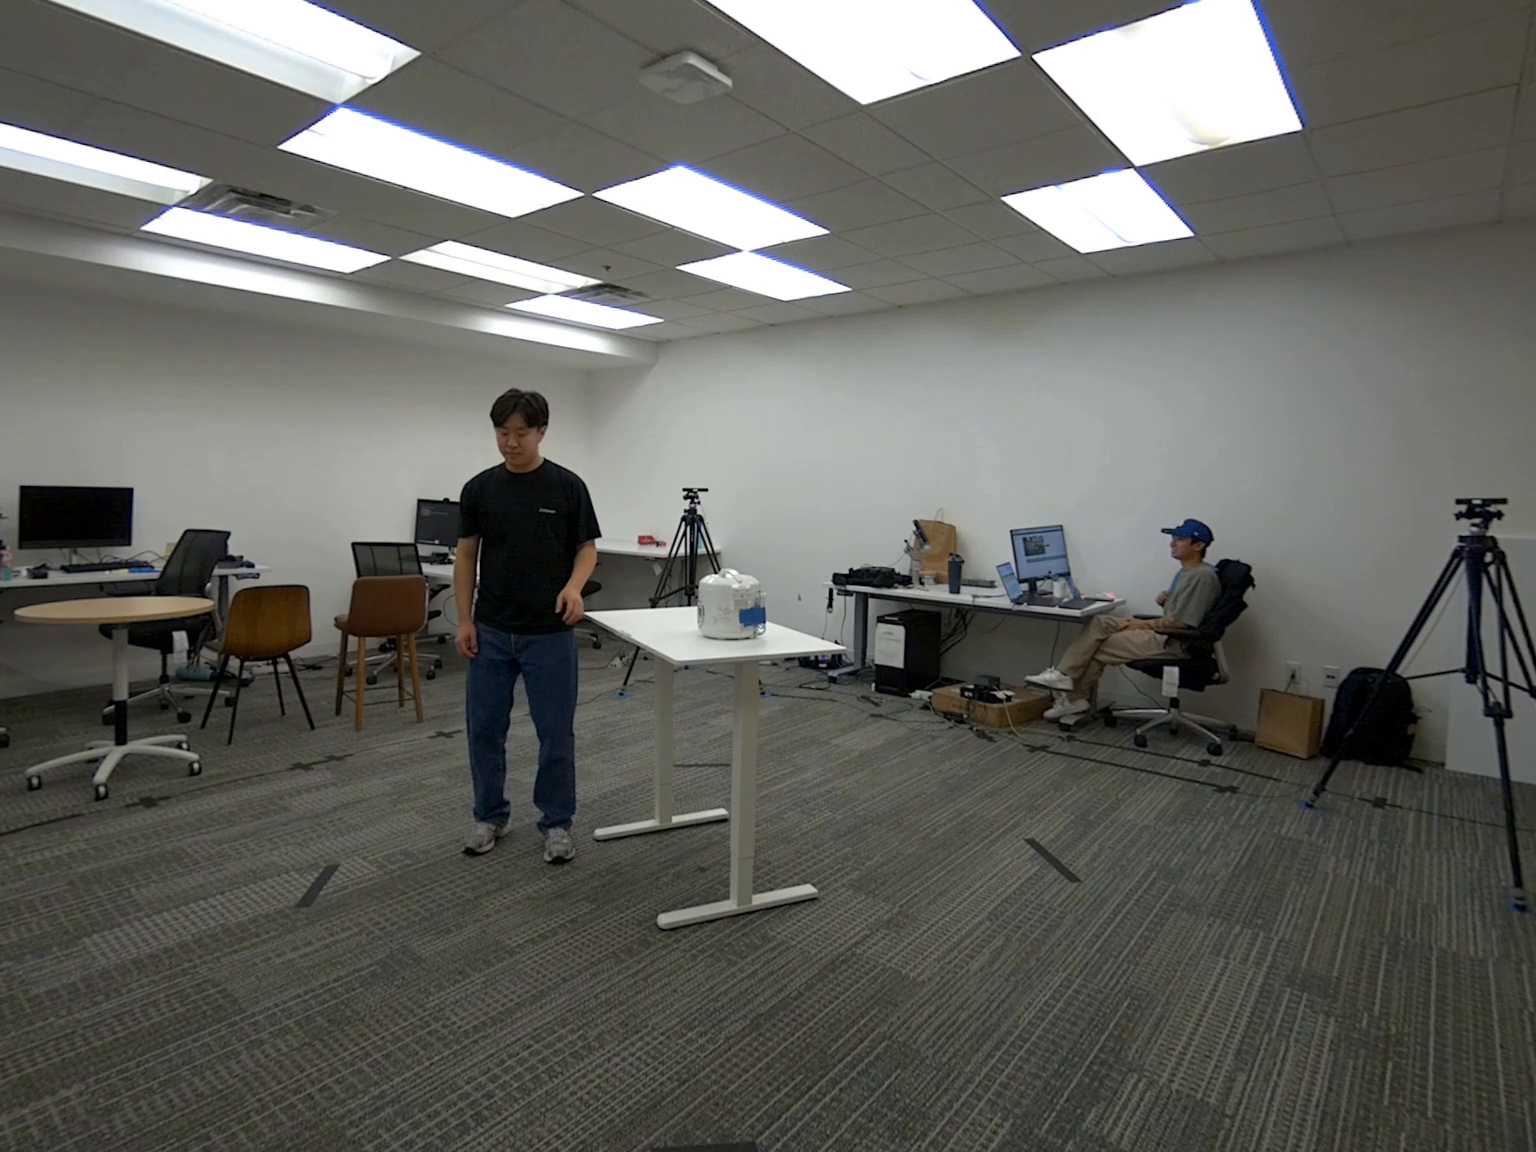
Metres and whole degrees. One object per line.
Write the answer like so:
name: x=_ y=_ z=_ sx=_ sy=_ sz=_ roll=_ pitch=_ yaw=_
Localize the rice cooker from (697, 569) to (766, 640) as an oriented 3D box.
rice cooker: x=-0.143 y=0.089 z=2.938 sx=0.212 sy=0.232 sz=0.226 roll=-1 pitch=4 yaw=-24
